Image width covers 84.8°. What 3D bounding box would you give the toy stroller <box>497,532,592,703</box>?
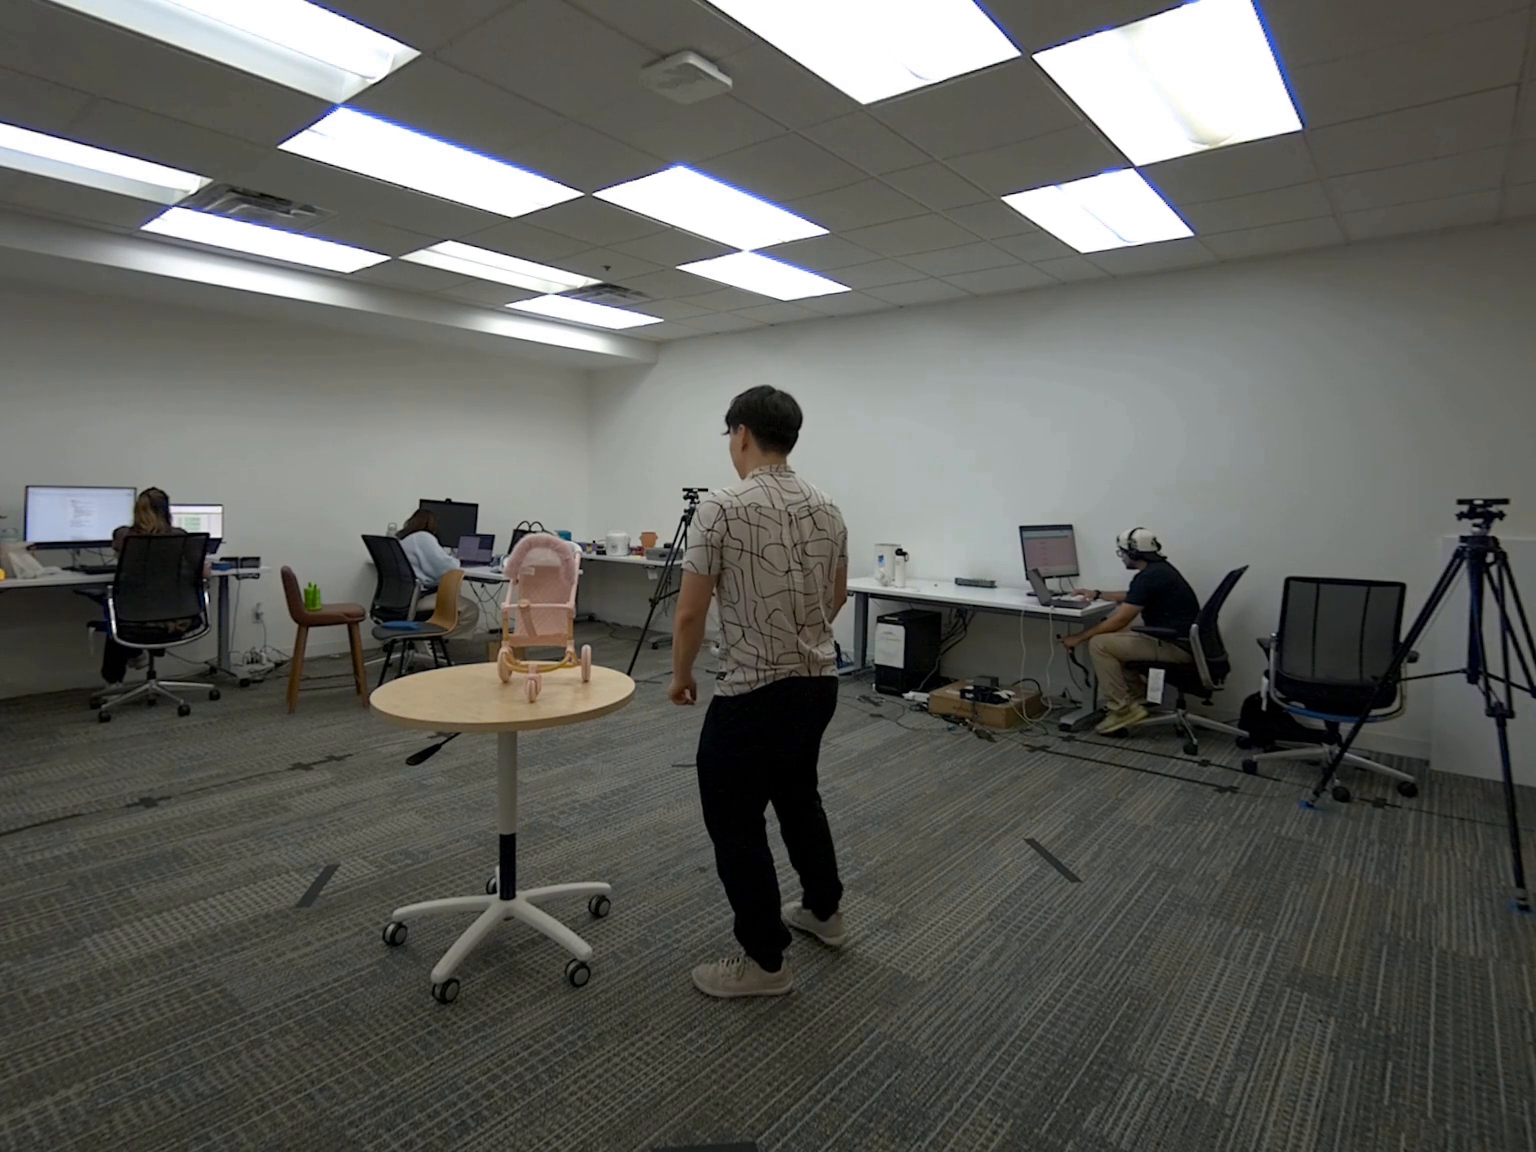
[{"bbox_3d":[-0.691,0.109,2.564,0.281,0.542,0.337,0,-13,-1],"label":"toy stroller"}]
